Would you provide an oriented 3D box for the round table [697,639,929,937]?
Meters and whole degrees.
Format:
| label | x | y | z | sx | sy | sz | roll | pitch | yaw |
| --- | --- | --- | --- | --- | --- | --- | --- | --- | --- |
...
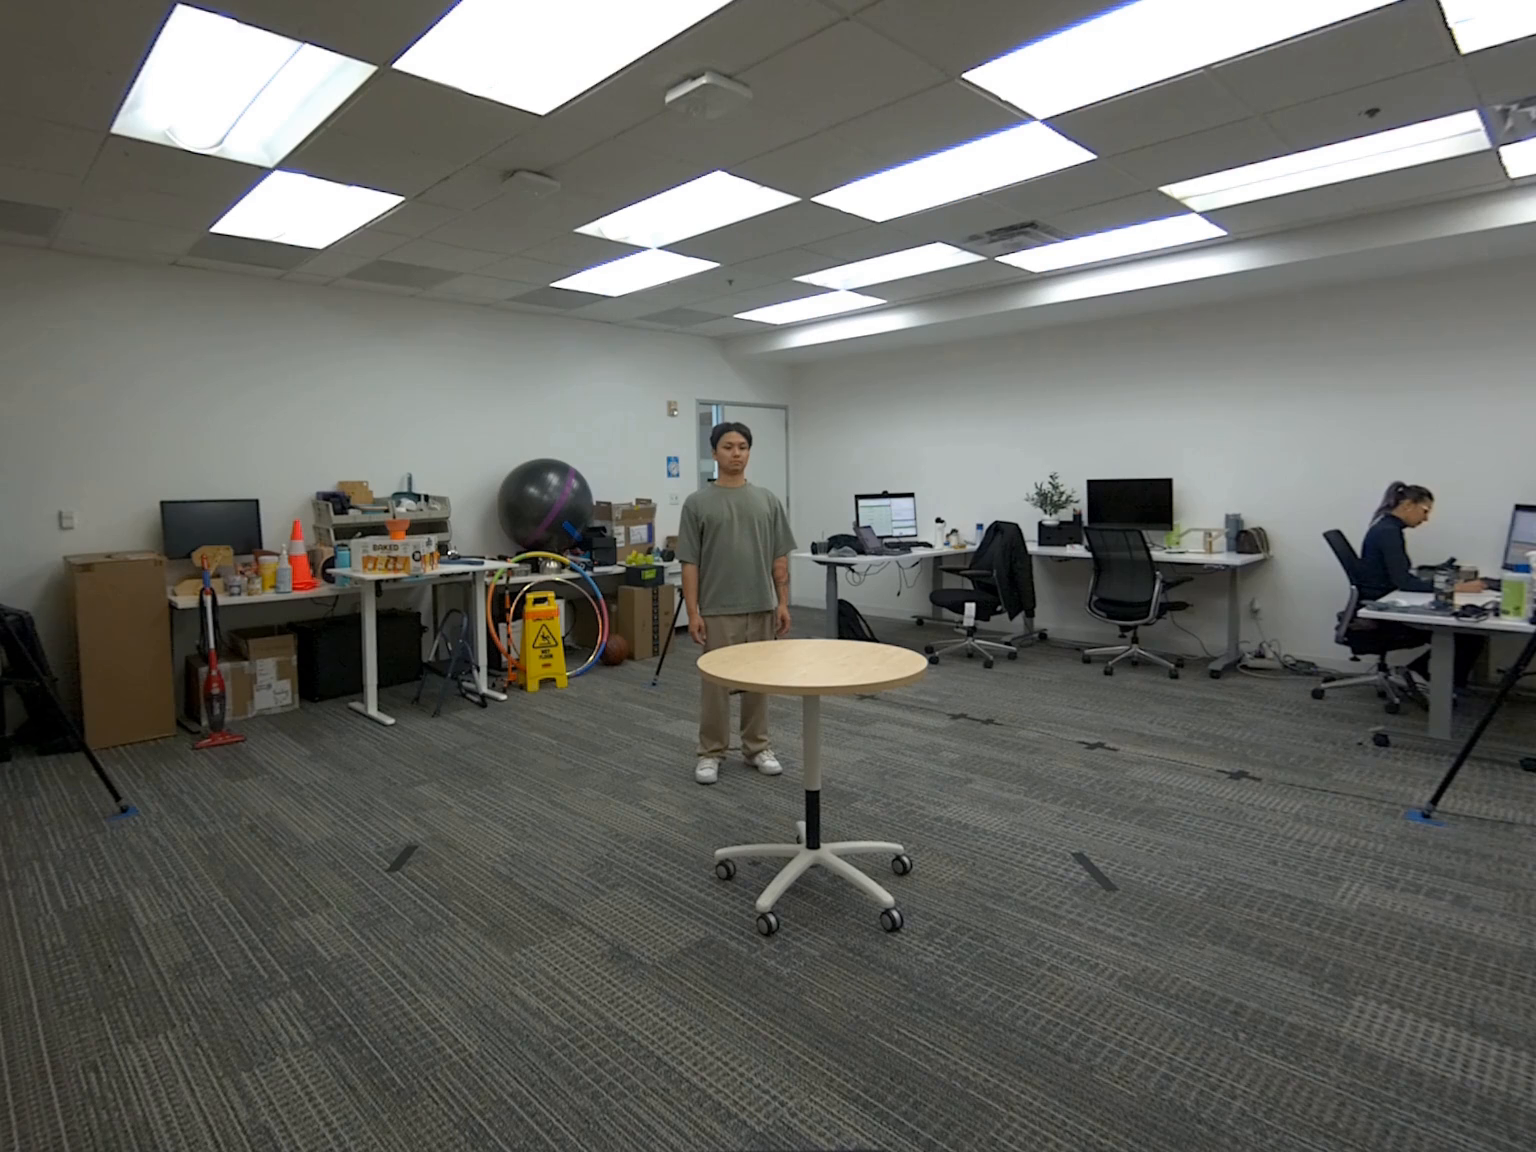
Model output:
| label | x | y | z | sx | sy | sz | roll | pitch | yaw |
| --- | --- | --- | --- | --- | --- | --- | --- | --- | --- |
| round table | 0.142 | 0.674 | 2.898 | 0.784 | 0.784 | 0.788 | -1 | 4 | -2 |
